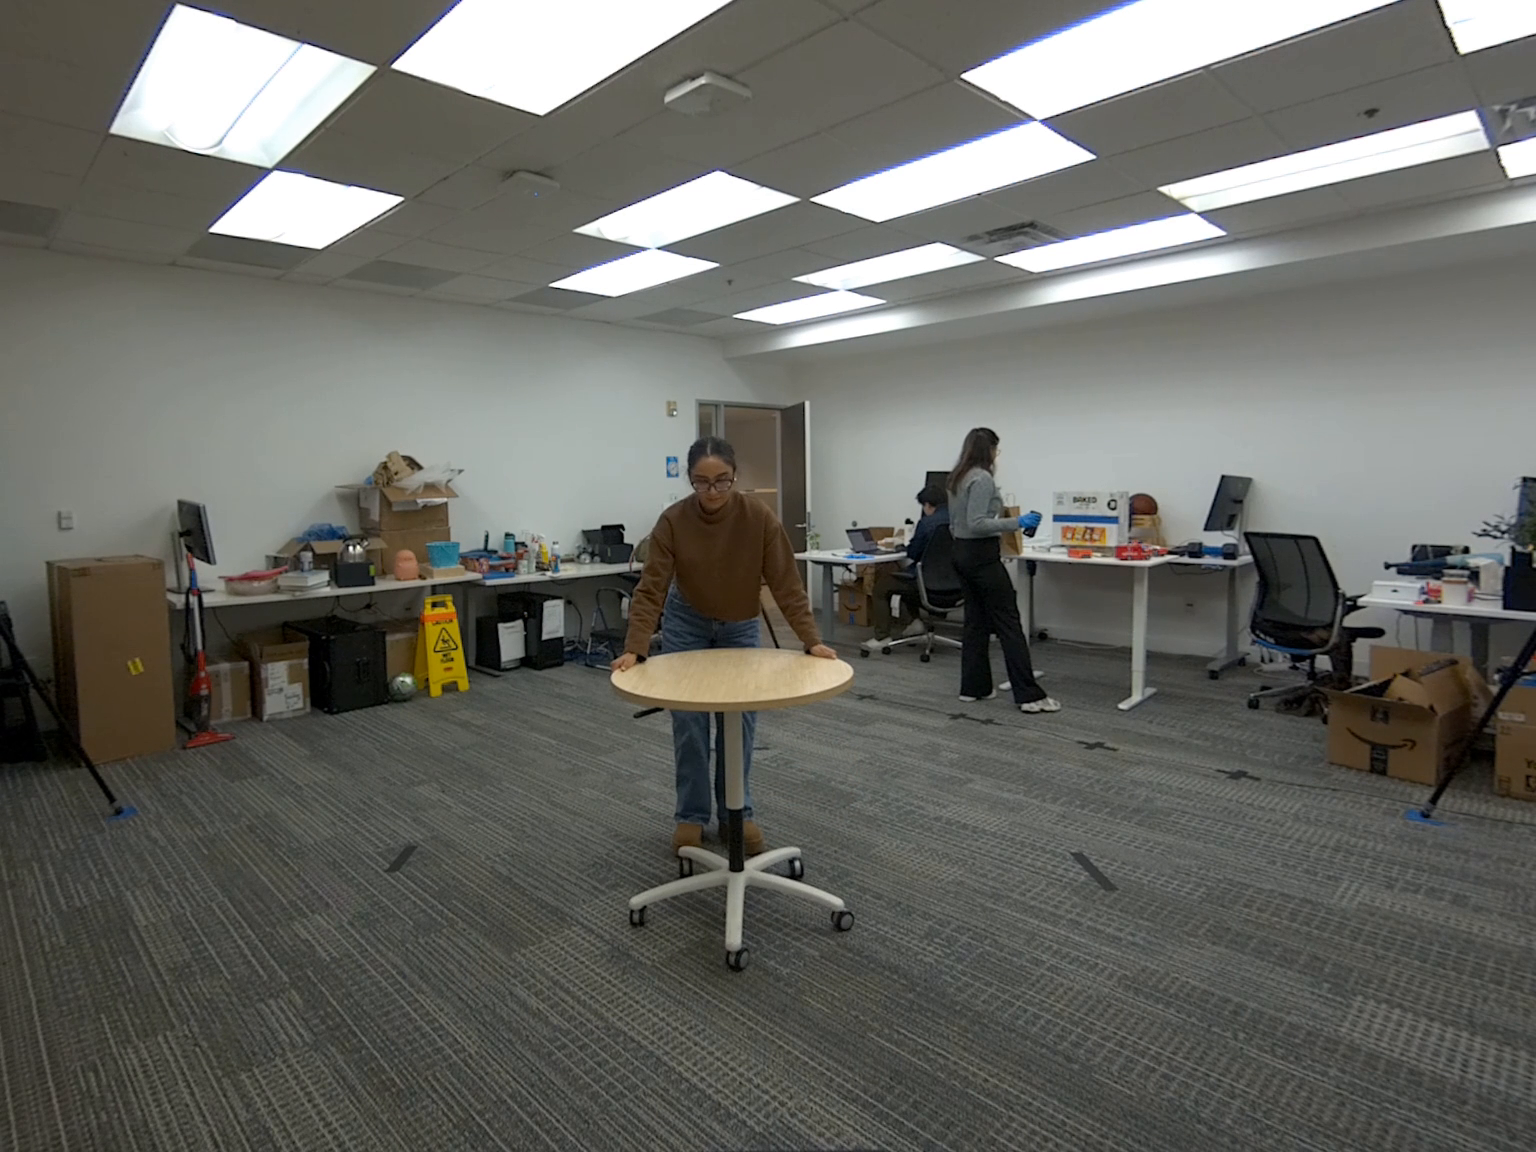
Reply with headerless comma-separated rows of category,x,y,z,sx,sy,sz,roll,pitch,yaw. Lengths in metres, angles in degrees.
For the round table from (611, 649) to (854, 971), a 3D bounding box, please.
round table,-0.107,0.699,2.731,0.763,0.791,0.768,-1,5,-2
